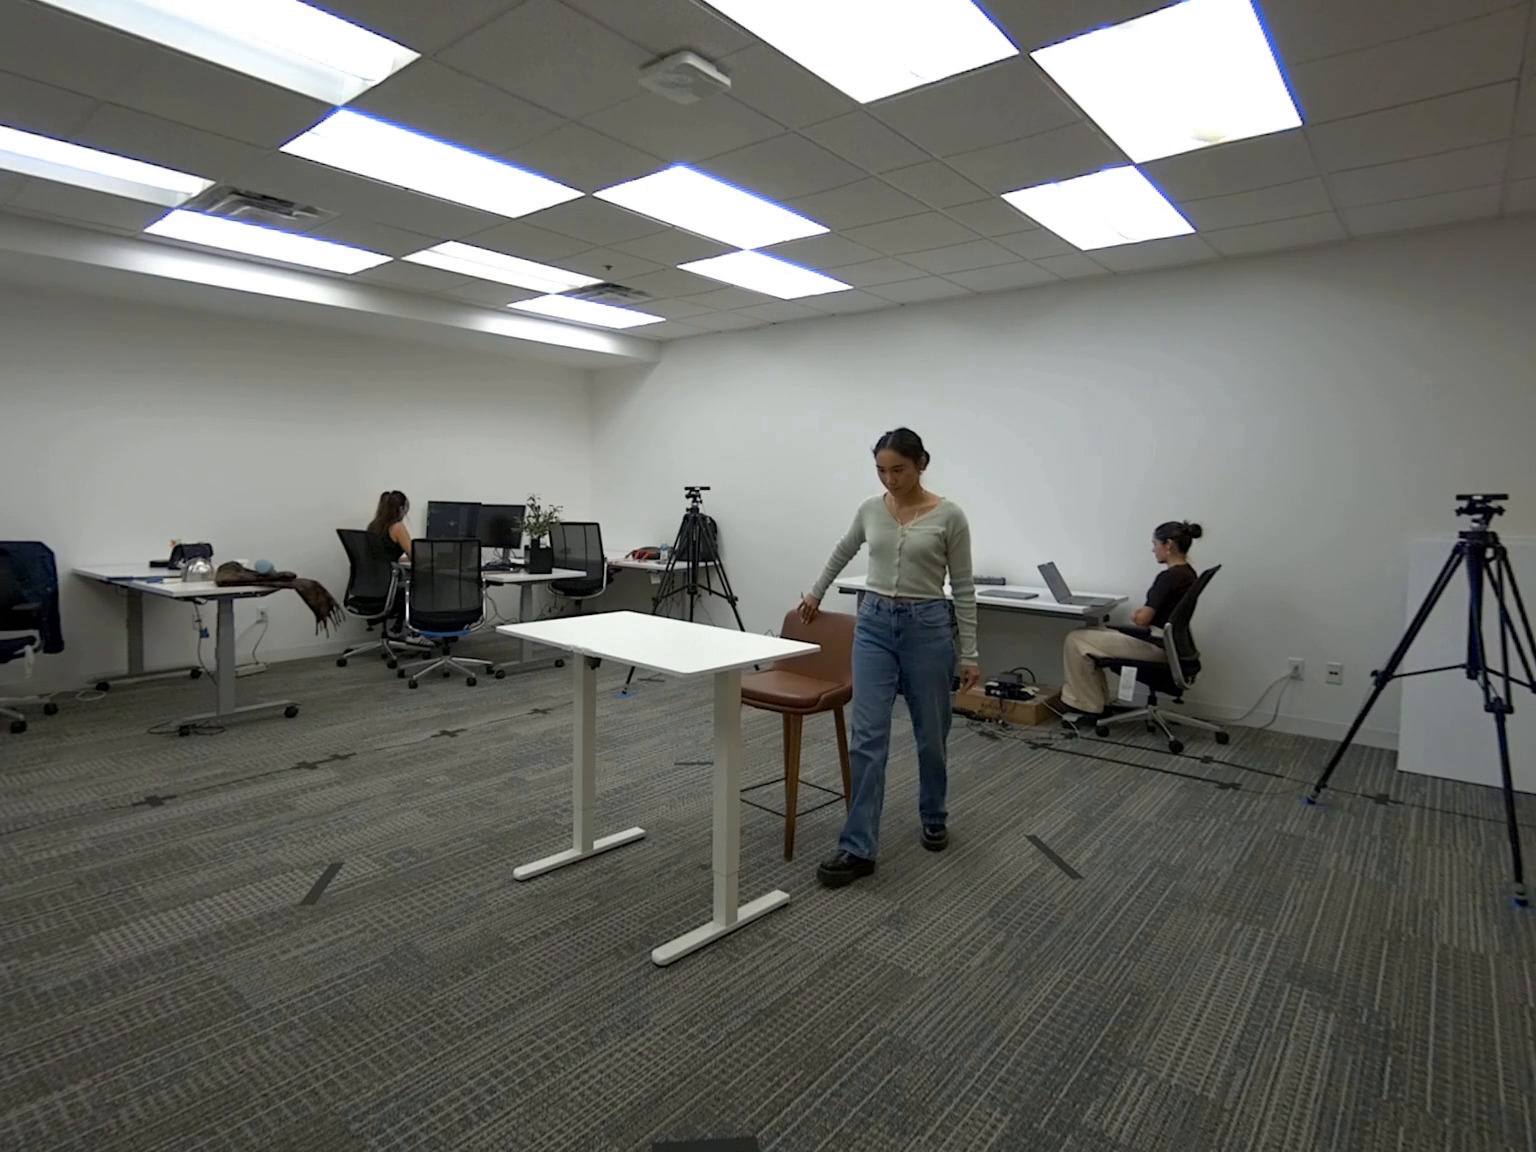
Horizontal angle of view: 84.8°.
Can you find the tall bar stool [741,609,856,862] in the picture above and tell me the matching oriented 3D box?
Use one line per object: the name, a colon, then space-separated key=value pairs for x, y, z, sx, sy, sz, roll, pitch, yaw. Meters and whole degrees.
tall bar stool: x=0.084 y=0.594 z=3.463 sx=0.472 sy=0.888 sz=0.452 roll=6 pitch=3 yaw=45
